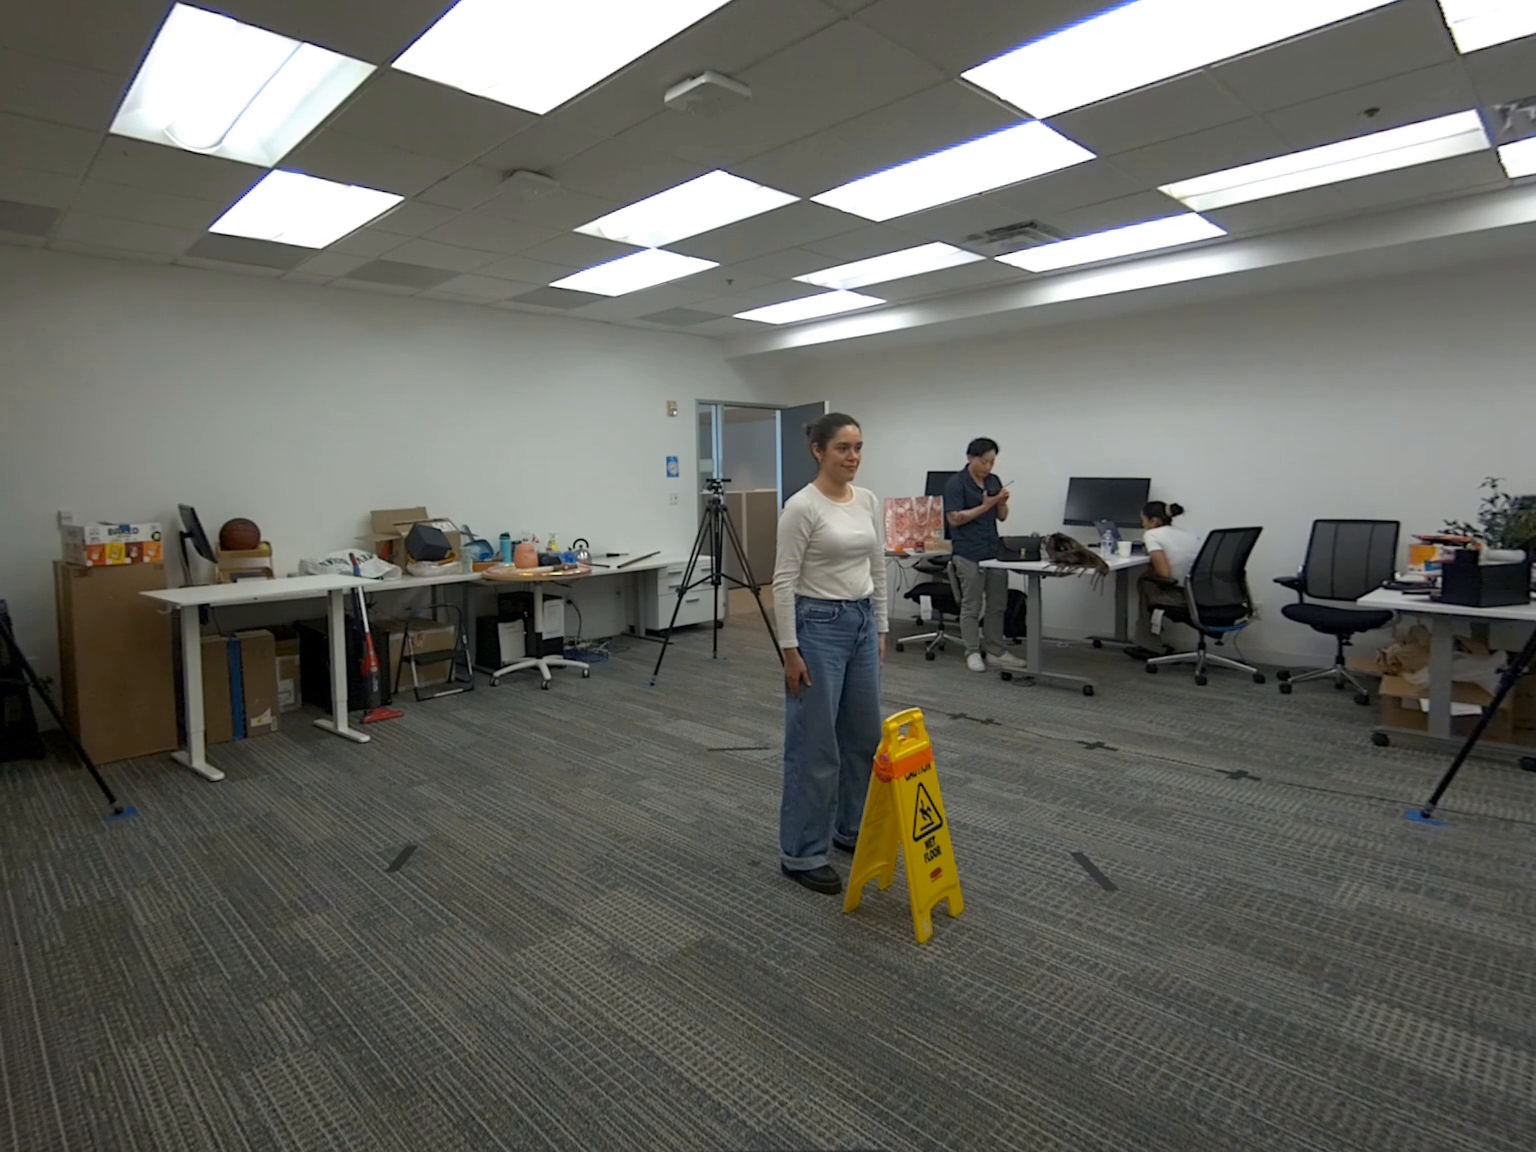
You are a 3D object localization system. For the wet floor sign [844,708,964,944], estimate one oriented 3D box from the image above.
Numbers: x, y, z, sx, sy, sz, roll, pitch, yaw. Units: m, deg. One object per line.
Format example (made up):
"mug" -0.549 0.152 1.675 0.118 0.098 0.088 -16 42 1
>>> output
"wet floor sign" 0.429 0.758 2.725 0.298 0.644 0.275 3 5 41
